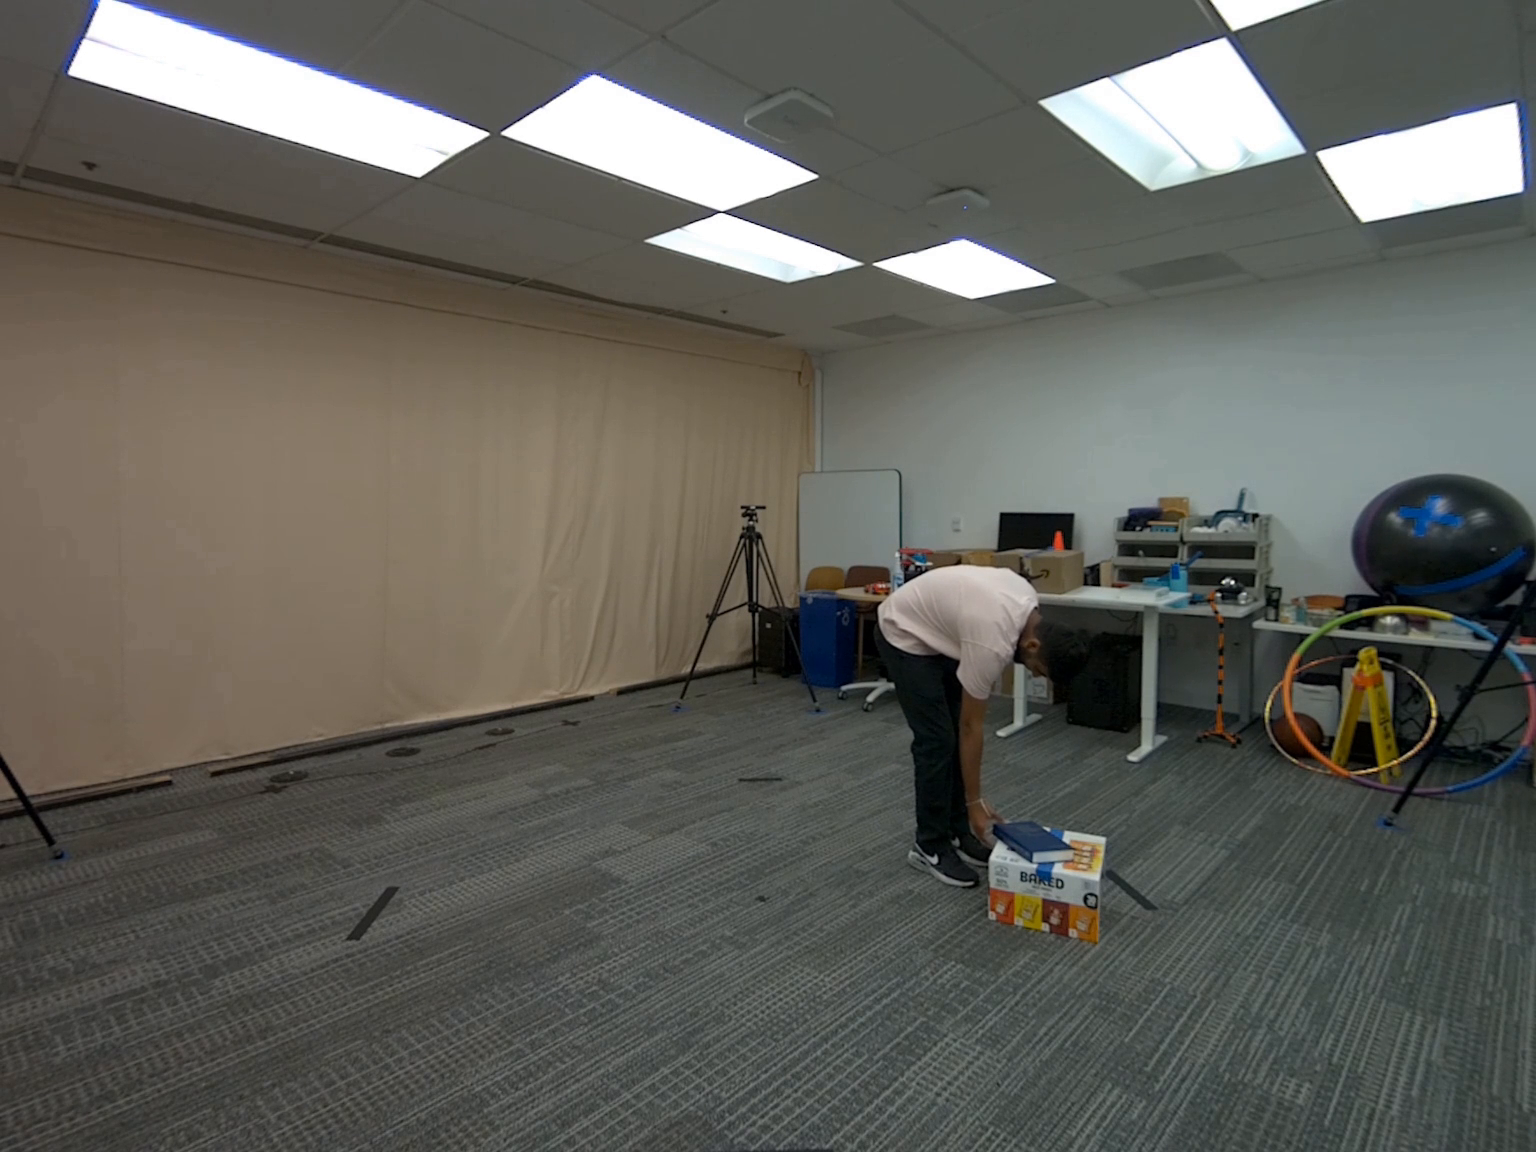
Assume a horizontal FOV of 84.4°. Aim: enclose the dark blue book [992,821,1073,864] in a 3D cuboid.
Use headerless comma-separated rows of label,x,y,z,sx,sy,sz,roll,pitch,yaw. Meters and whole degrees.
dark blue book,0.944,0.932,2.931,0.161,0.045,0.249,1,5,-15
